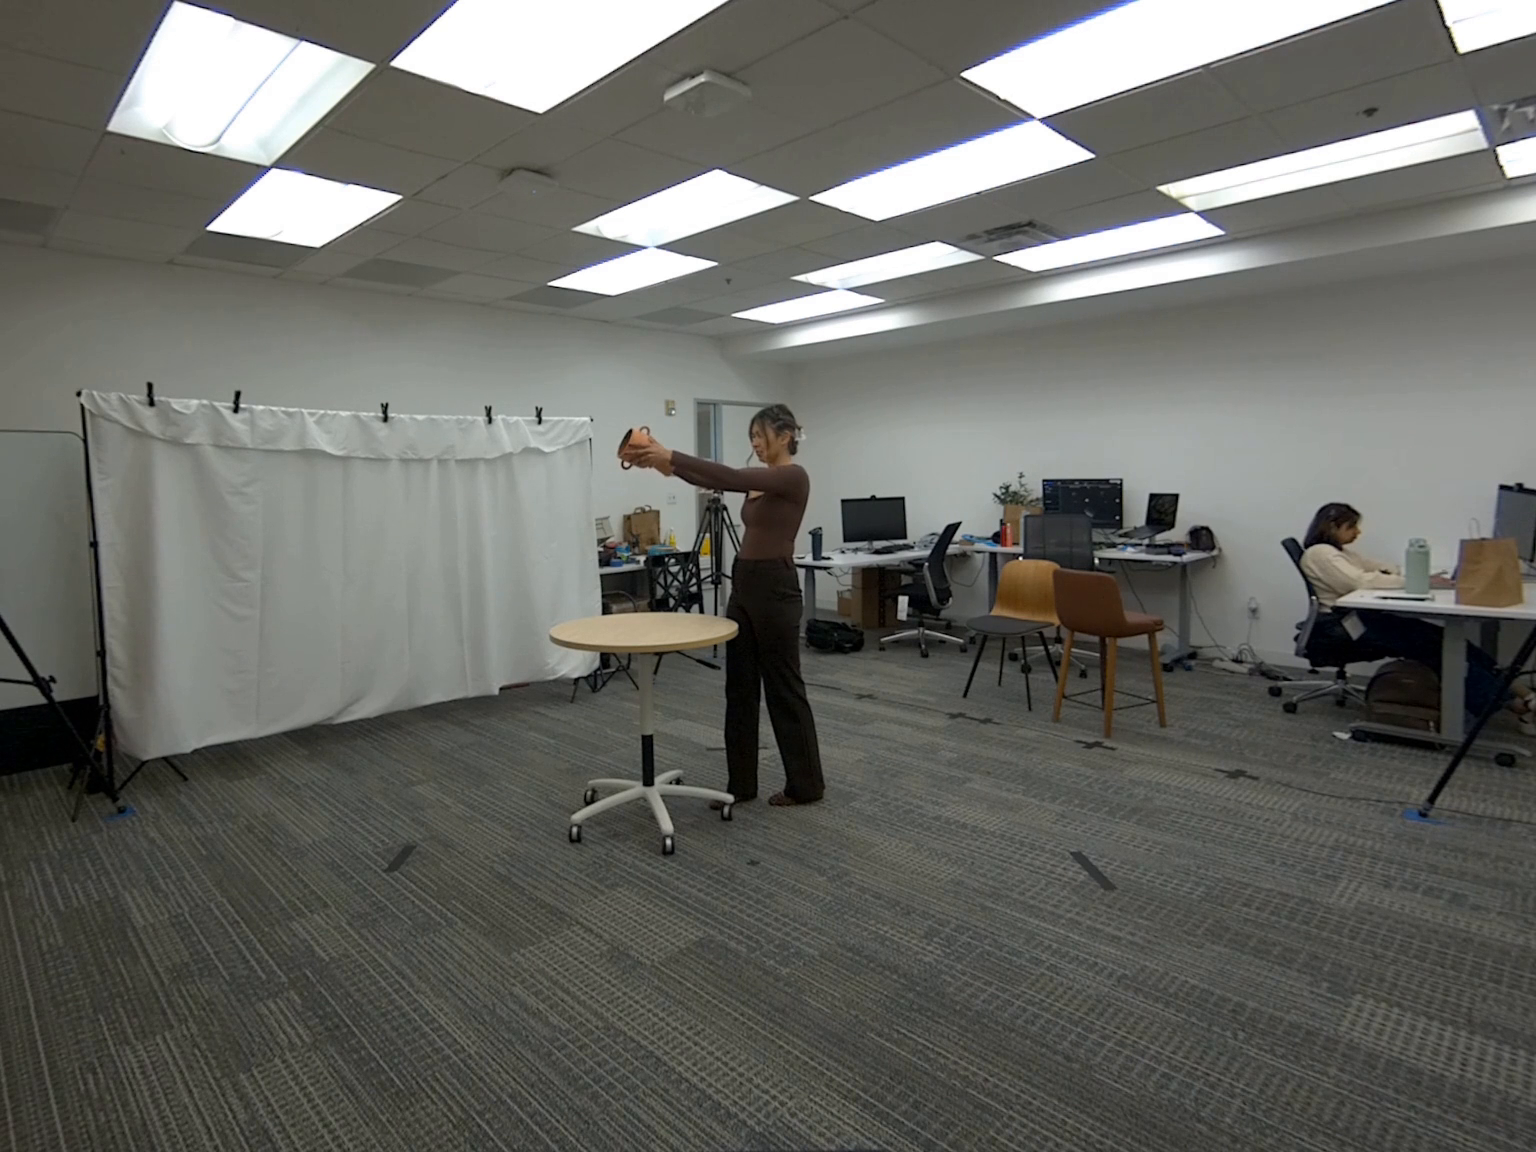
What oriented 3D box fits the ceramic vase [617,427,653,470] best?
[{"bbox_3d":[-0.481,-0.488,3.447,0.214,0.137,0.160,25,-35,-22],"label":"ceramic vase"}]
